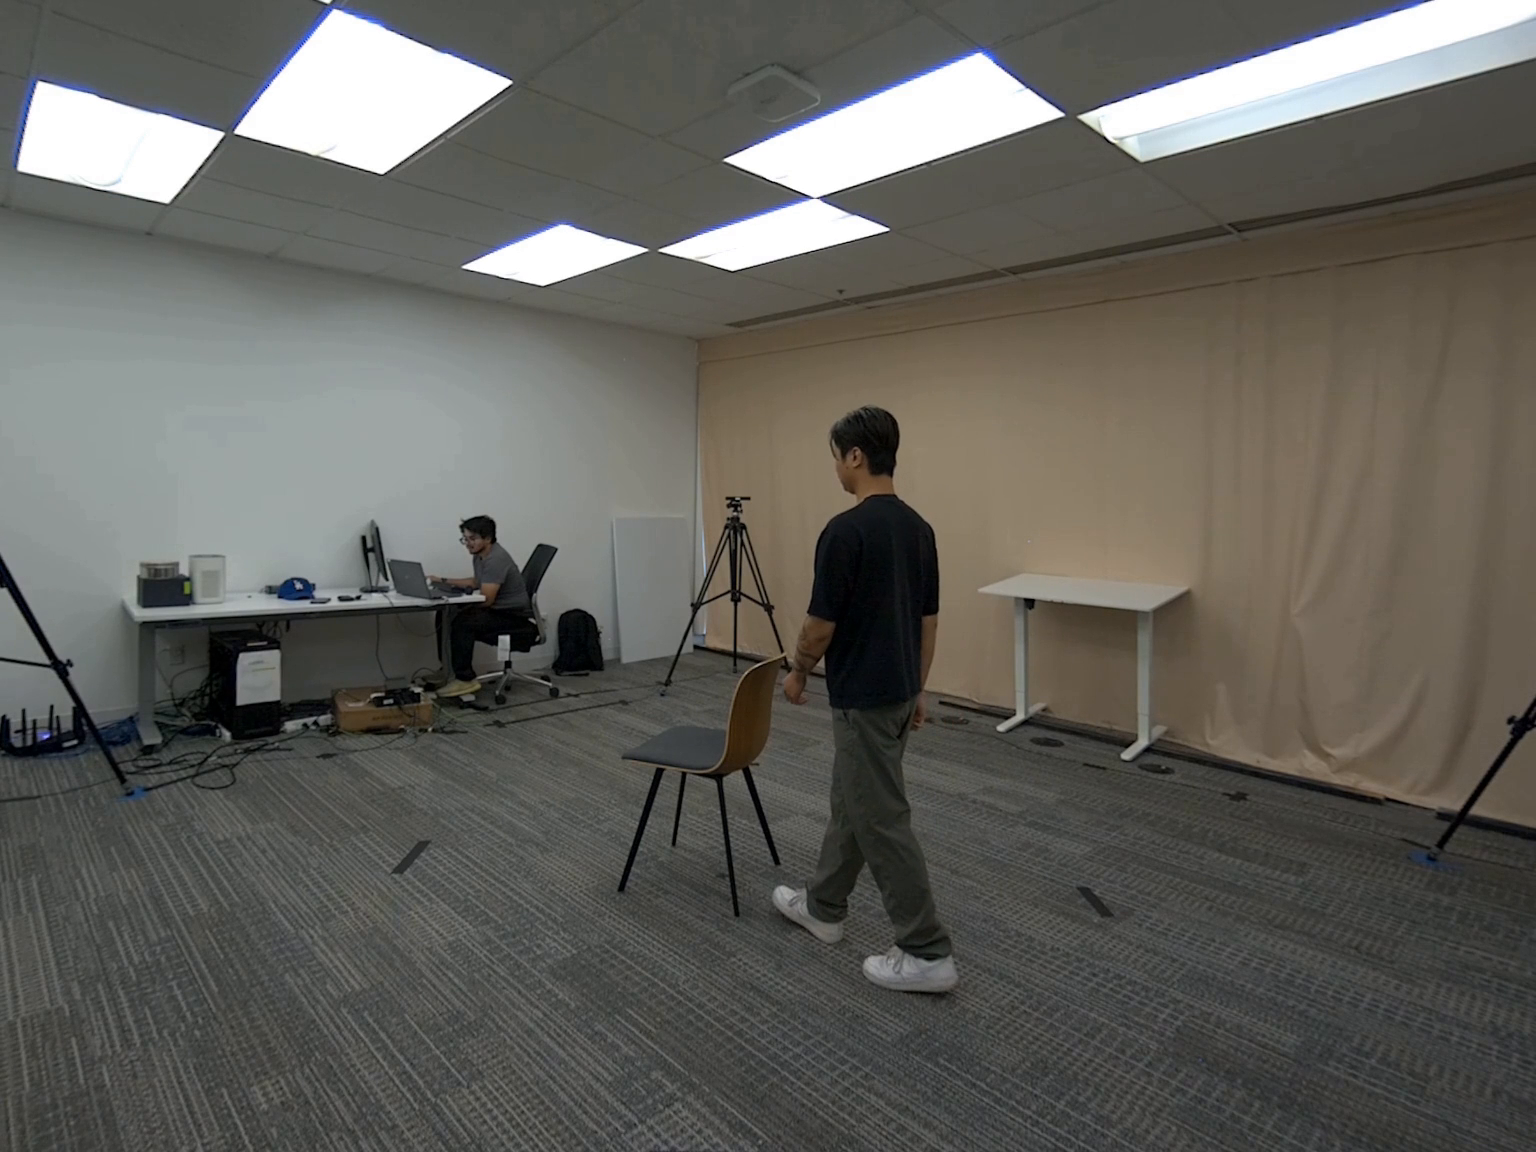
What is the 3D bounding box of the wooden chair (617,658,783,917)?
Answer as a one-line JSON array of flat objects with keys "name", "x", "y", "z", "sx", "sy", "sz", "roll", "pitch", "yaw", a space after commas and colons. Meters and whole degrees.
[{"name": "wooden chair", "x": -0.244, "y": 0.681, "z": 3.052, "sx": 0.532, "sy": 0.874, "sz": 0.471, "roll": 7, "pitch": 6, "yaw": 21}]
